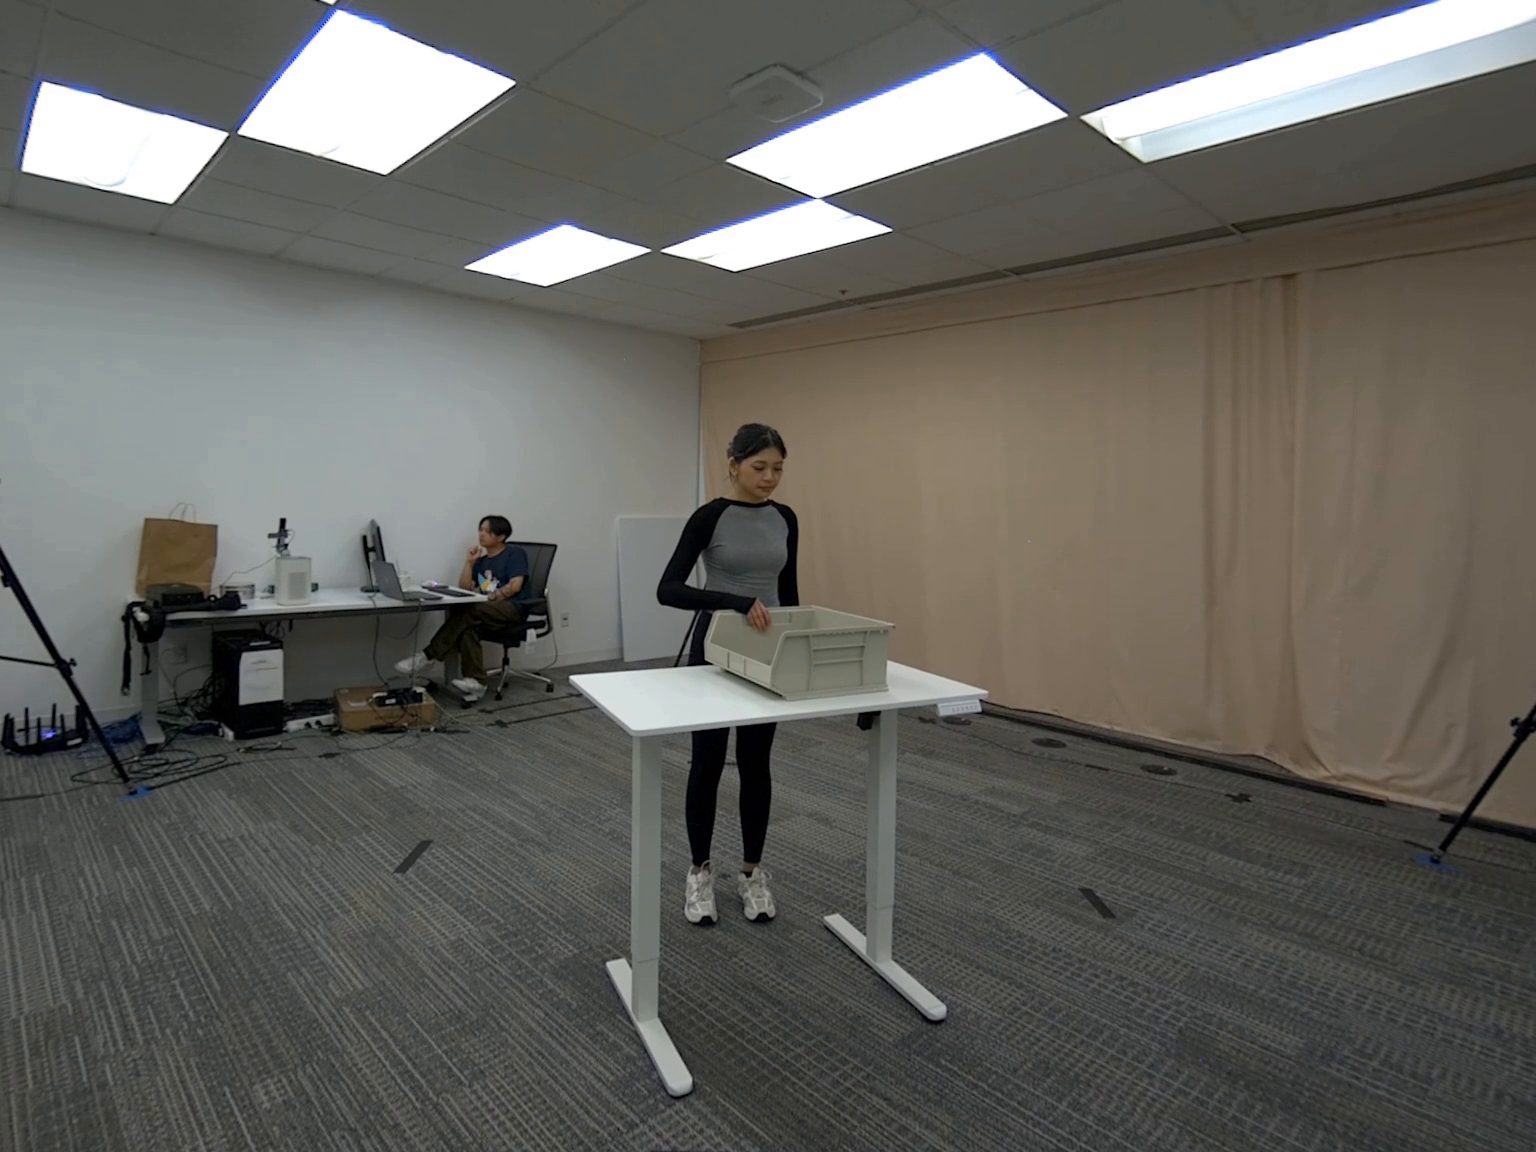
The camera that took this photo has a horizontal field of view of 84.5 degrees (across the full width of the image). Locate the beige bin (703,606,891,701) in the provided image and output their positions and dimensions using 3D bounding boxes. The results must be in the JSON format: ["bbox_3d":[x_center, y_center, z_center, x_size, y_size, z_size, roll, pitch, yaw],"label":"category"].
[{"bbox_3d":[0.069,0.216,2.353,0.370,0.188,0.431,-1,4,-29],"label":"beige bin"}]
